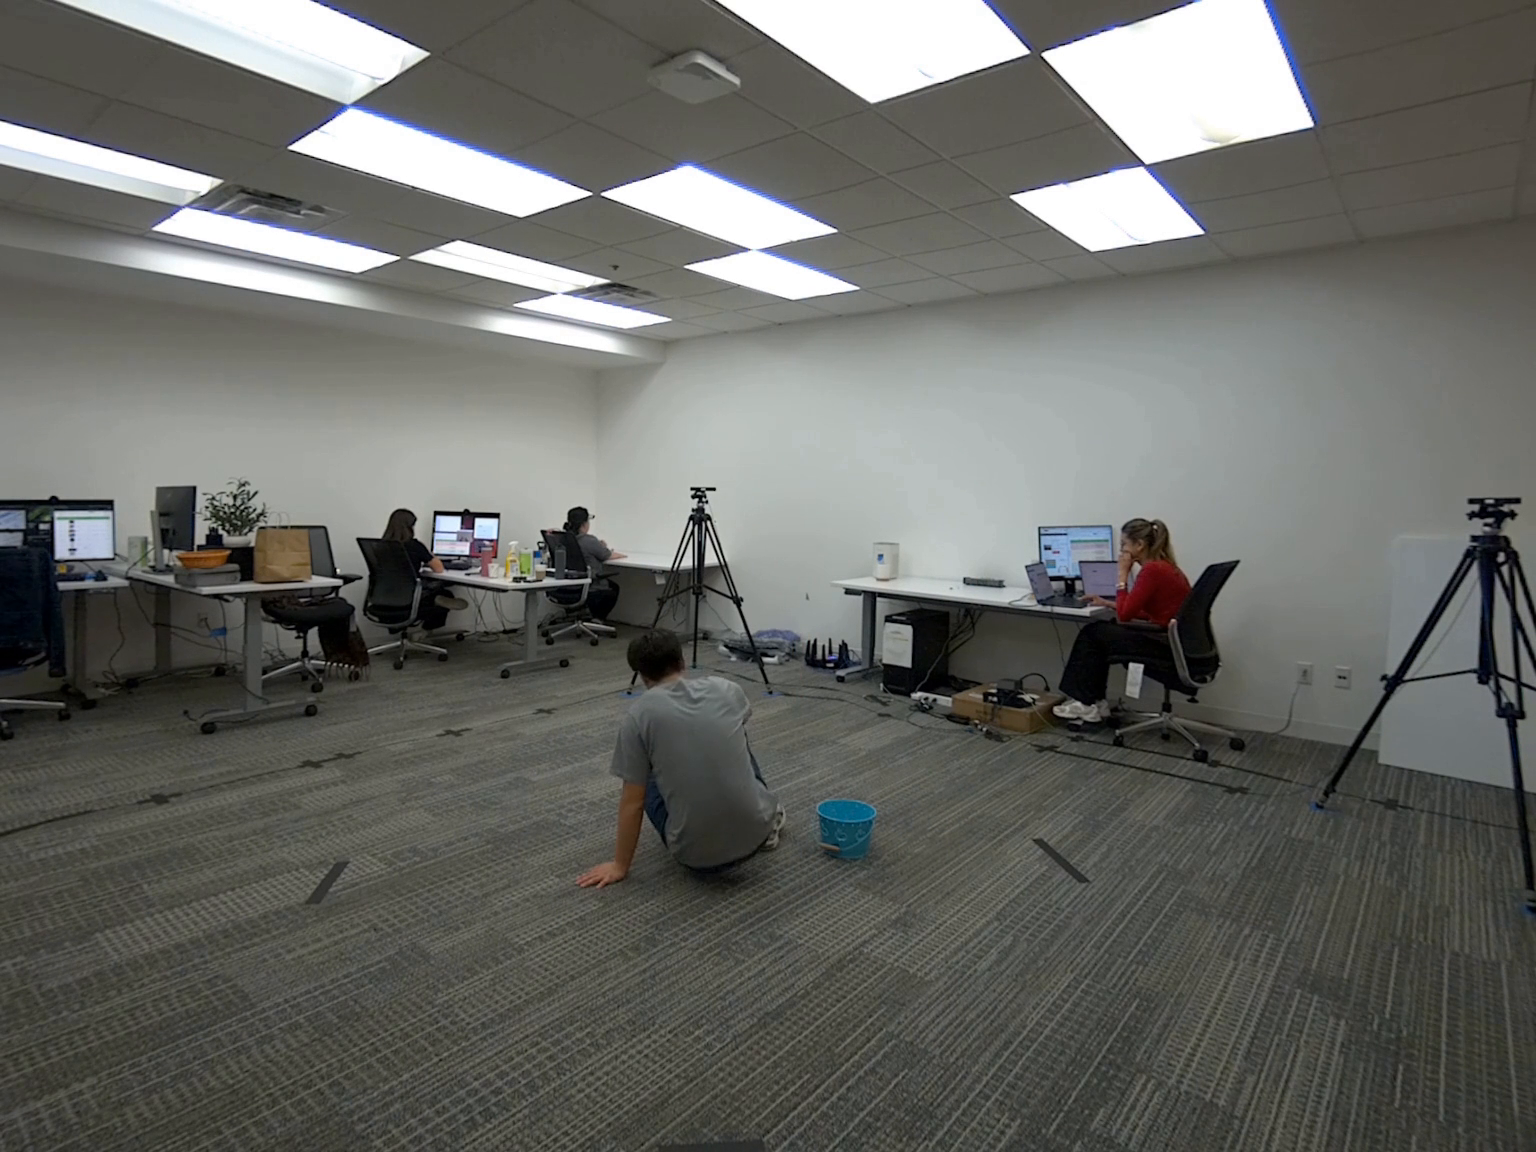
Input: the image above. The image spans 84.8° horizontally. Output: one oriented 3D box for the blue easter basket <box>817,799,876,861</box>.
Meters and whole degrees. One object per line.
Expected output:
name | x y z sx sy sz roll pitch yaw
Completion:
blue easter basket | 0.291 0.982 3.301 0.243 0.155 0.245 1 4 -2
